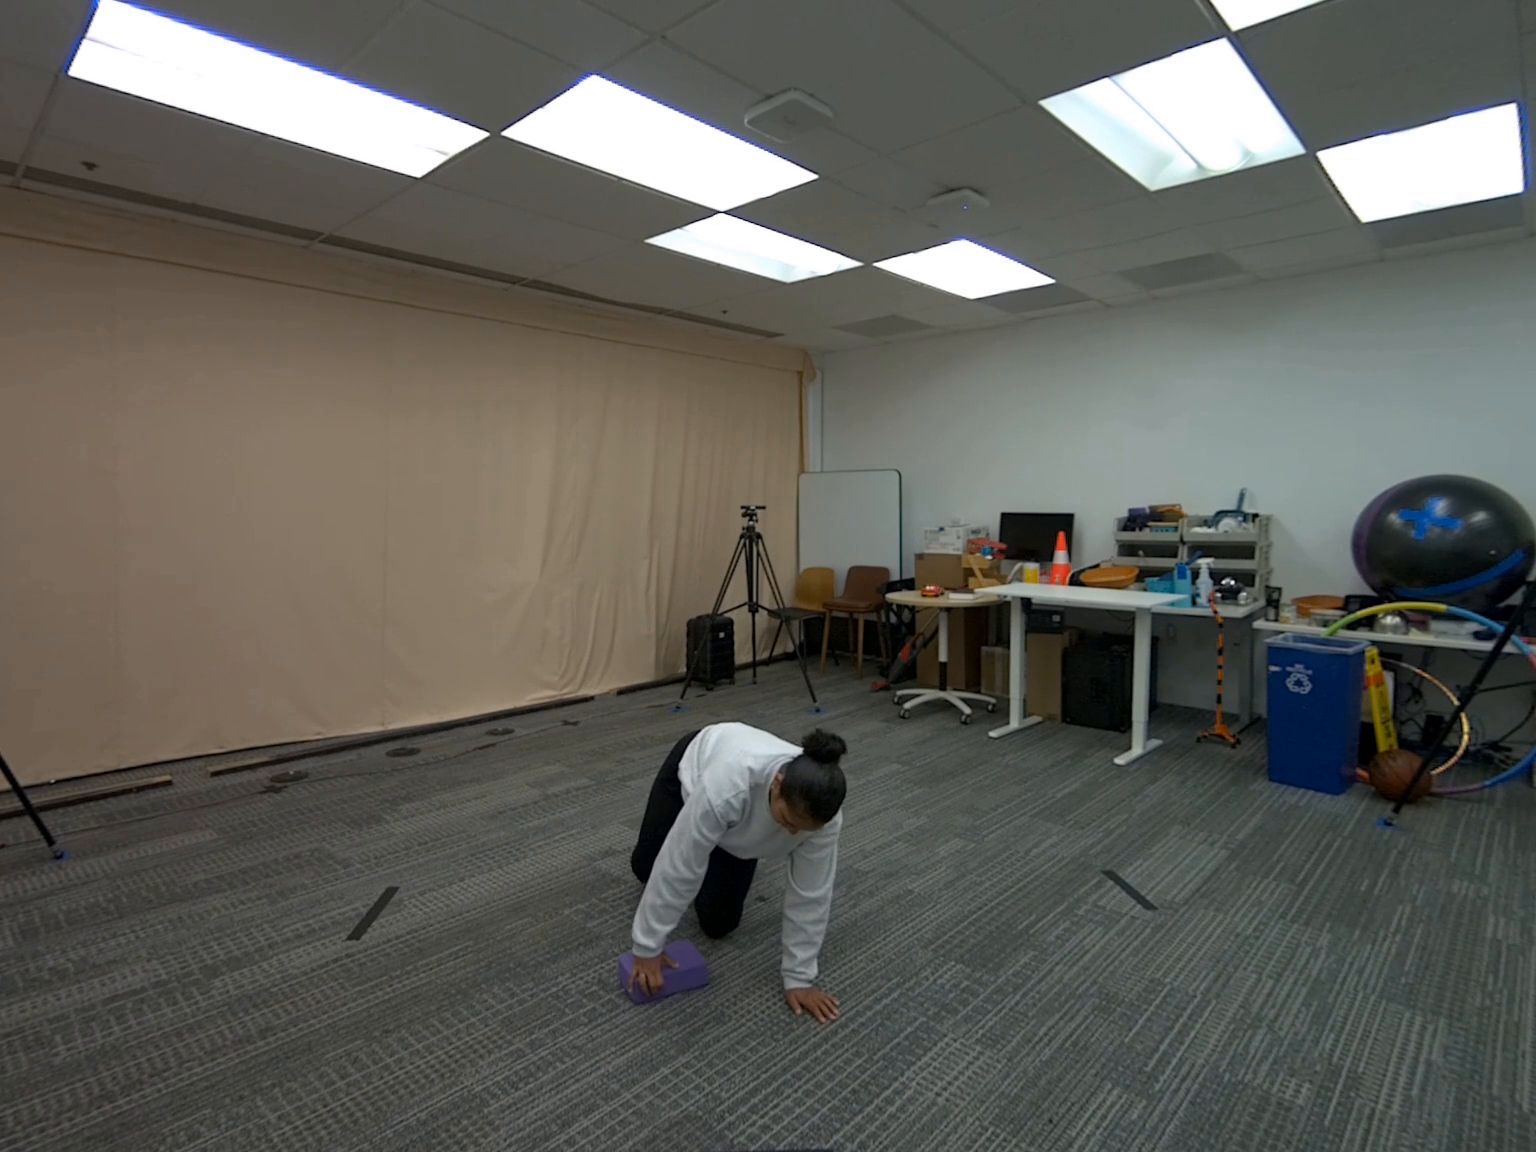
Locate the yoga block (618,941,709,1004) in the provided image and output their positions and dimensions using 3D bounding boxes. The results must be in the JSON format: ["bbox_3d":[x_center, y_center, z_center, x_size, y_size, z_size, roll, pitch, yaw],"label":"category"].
[{"bbox_3d":[-0.299,1.153,2.454,0.224,0.076,0.153,-3,7,-26],"label":"yoga block"}]
